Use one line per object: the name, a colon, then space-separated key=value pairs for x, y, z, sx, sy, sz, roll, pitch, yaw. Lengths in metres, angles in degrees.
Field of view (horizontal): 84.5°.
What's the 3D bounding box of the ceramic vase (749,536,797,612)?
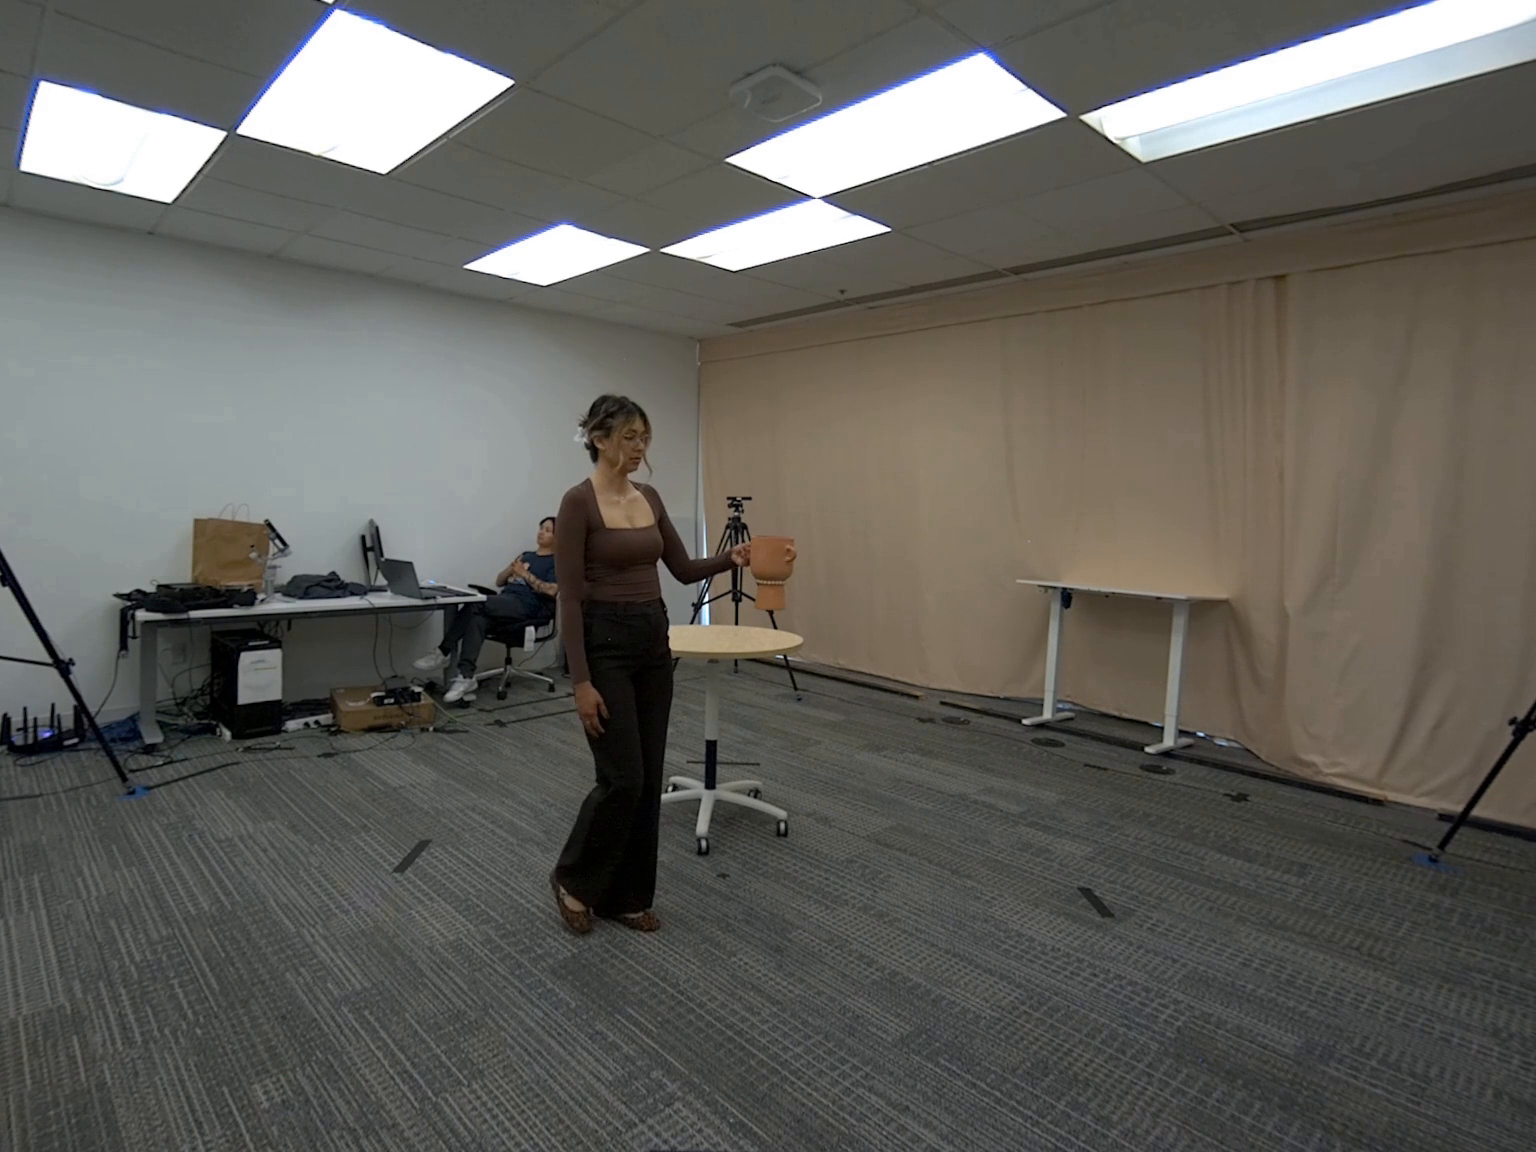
ceramic vase: x=0.002 y=-0.009 z=2.559 sx=0.134 sy=0.219 sz=0.160 roll=2 pitch=3 yaw=-6
